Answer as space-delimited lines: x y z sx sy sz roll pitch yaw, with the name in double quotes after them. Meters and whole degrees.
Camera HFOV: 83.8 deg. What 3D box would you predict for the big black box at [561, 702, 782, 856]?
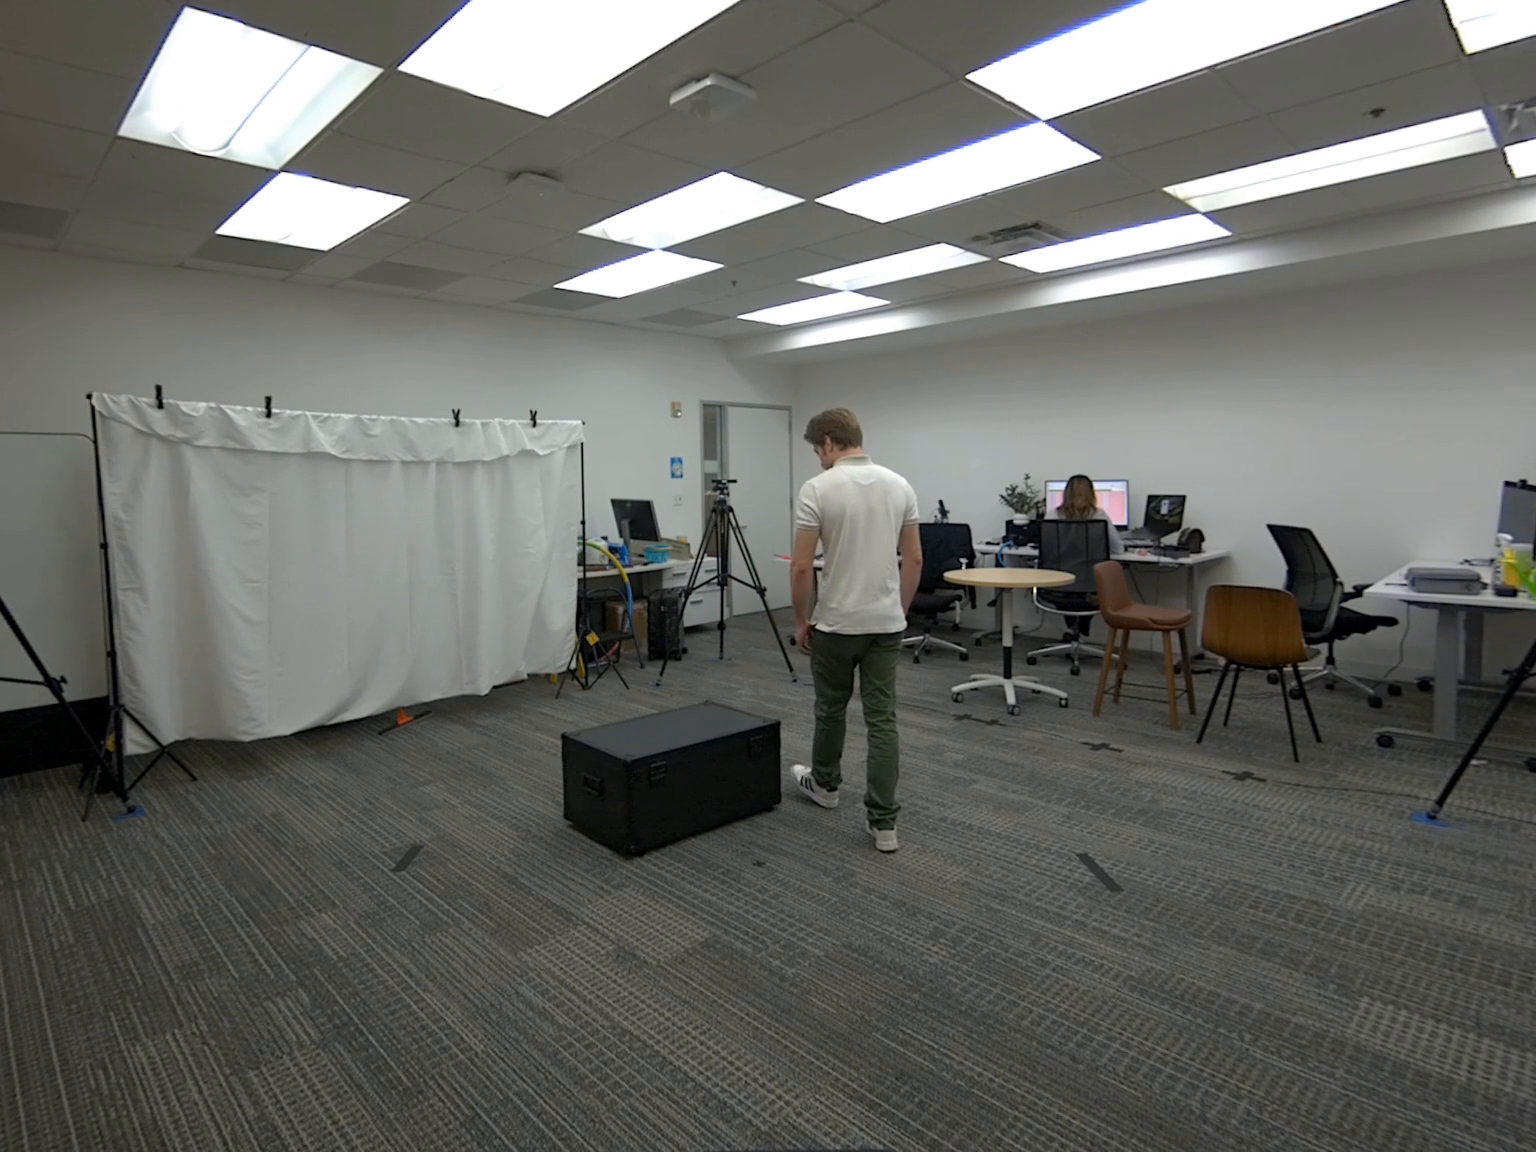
-0.365 0.811 3.576 0.839 0.394 0.537 -7 8 -41 "big black box"
